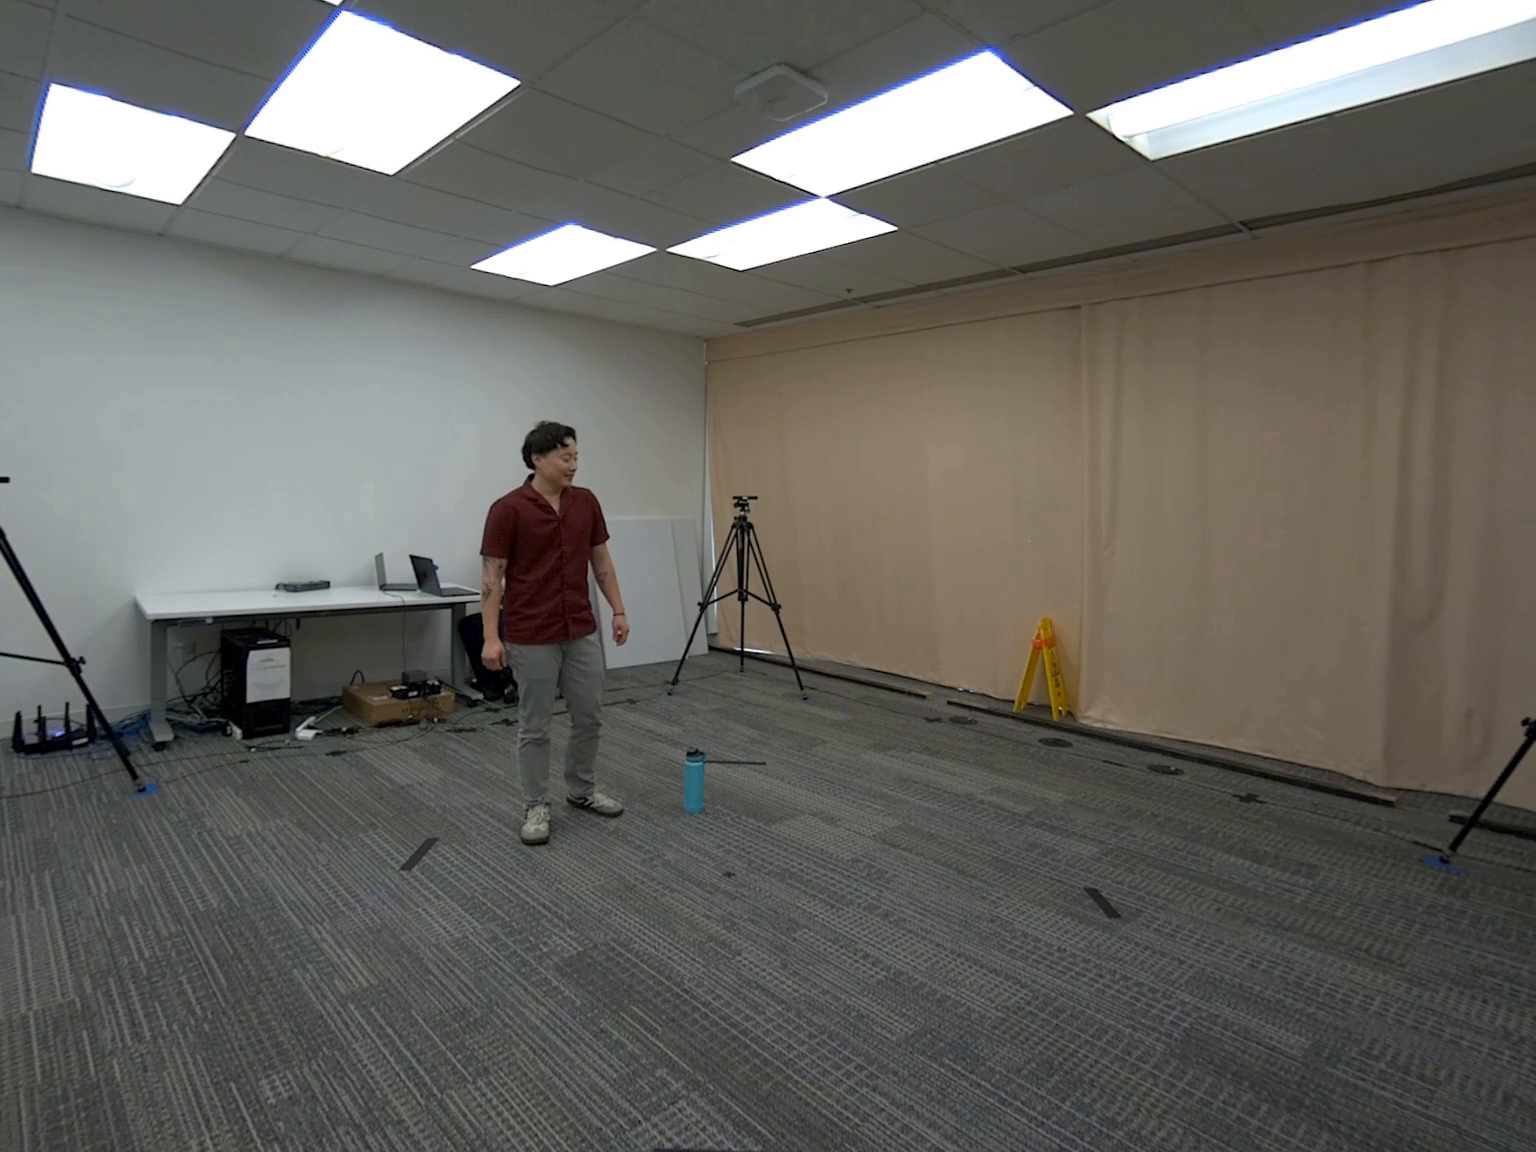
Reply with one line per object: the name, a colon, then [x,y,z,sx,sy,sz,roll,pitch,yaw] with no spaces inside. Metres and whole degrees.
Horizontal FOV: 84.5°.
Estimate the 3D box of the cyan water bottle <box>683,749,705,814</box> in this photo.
cyan water bottle: [-0.345,0.904,3.747,0.092,0.283,0.092,2,3,-2]
